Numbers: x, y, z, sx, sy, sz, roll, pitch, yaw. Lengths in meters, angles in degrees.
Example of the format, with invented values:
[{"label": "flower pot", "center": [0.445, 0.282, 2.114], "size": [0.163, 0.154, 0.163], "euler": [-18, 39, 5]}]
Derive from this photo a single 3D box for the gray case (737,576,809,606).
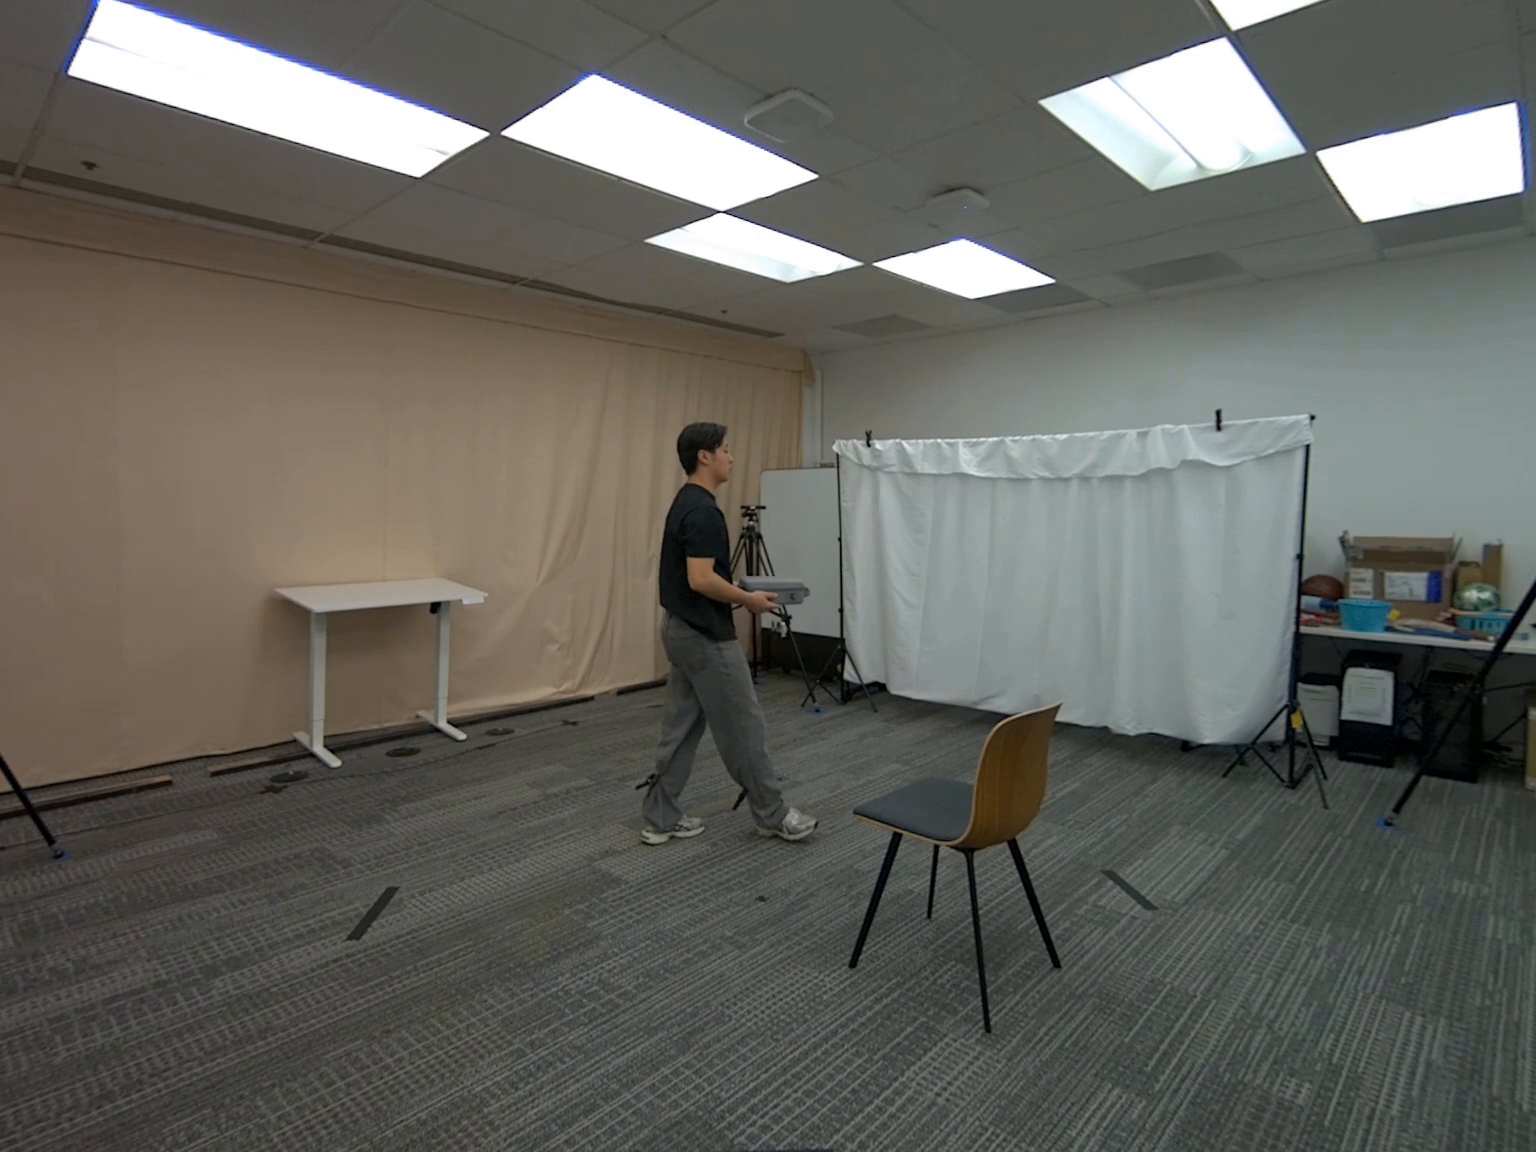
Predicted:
[{"label": "gray case", "center": [0.035, 0.059, 3.553], "size": [0.285, 0.103, 0.265], "euler": [0, 4, -7]}]
